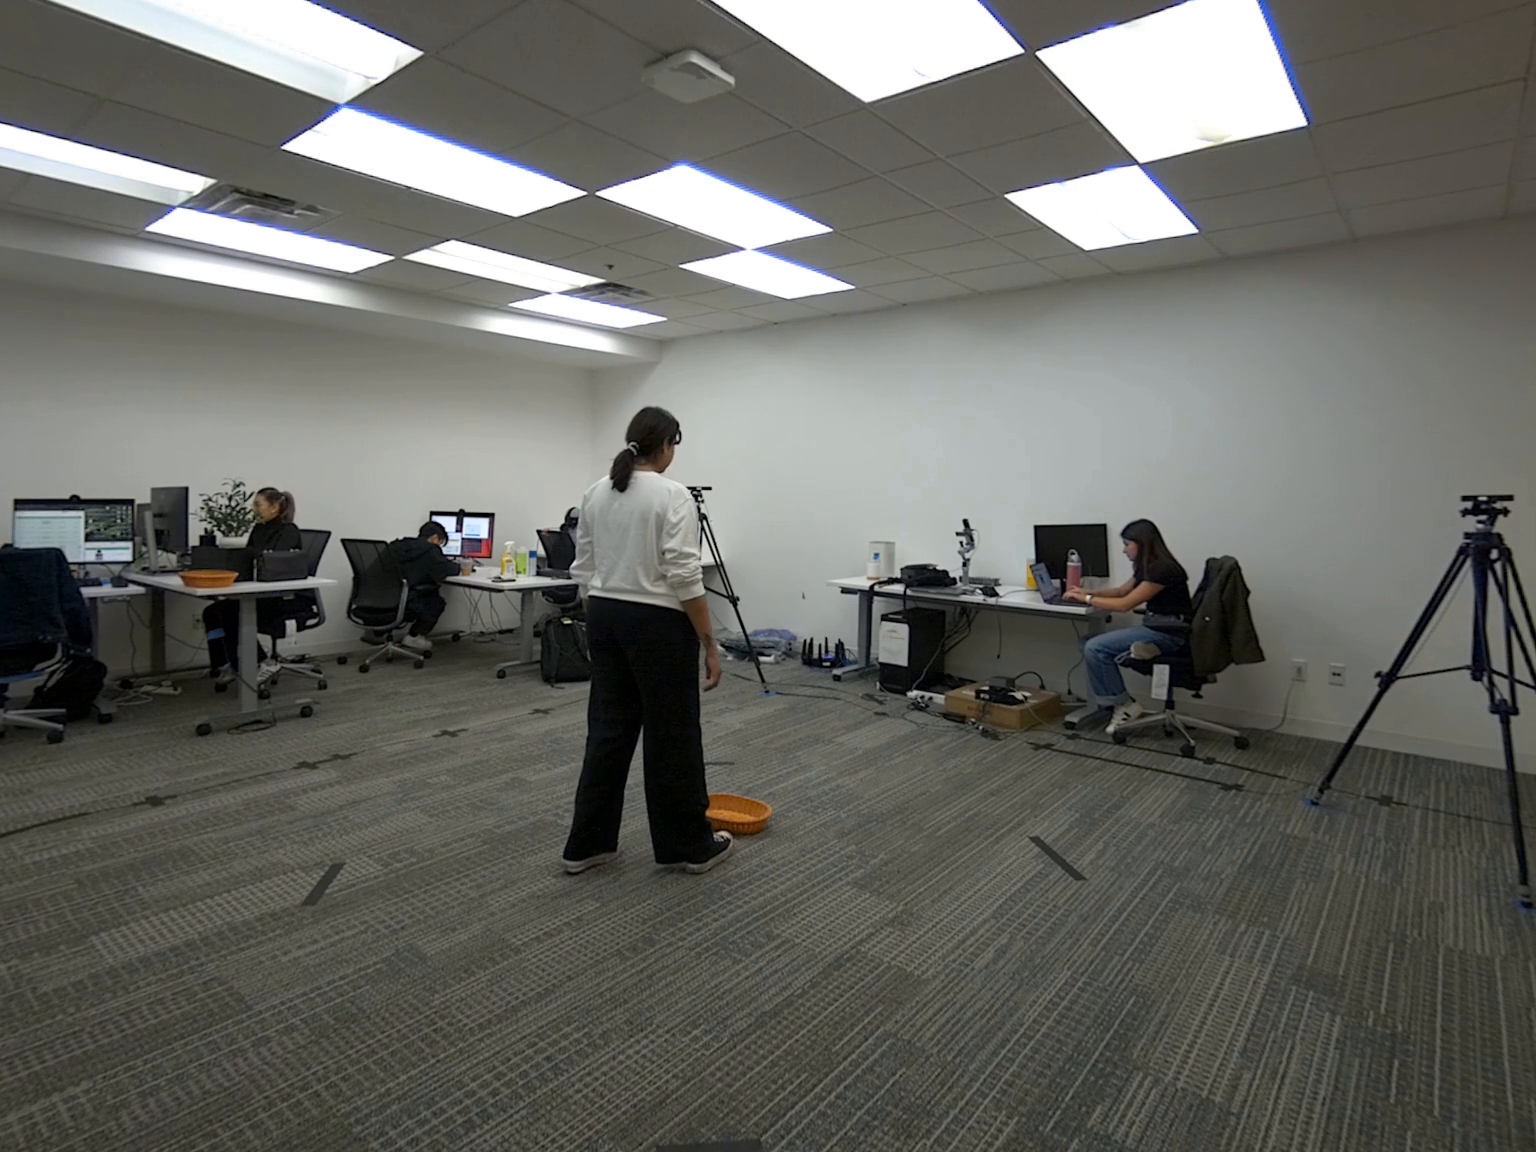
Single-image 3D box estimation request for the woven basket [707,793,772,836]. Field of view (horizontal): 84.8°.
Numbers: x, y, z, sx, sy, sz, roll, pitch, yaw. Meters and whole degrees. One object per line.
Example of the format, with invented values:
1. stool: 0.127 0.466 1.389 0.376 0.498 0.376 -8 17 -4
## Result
1. woven basket: -0.152 0.984 3.524 0.361 0.073 0.246 5 8 31
